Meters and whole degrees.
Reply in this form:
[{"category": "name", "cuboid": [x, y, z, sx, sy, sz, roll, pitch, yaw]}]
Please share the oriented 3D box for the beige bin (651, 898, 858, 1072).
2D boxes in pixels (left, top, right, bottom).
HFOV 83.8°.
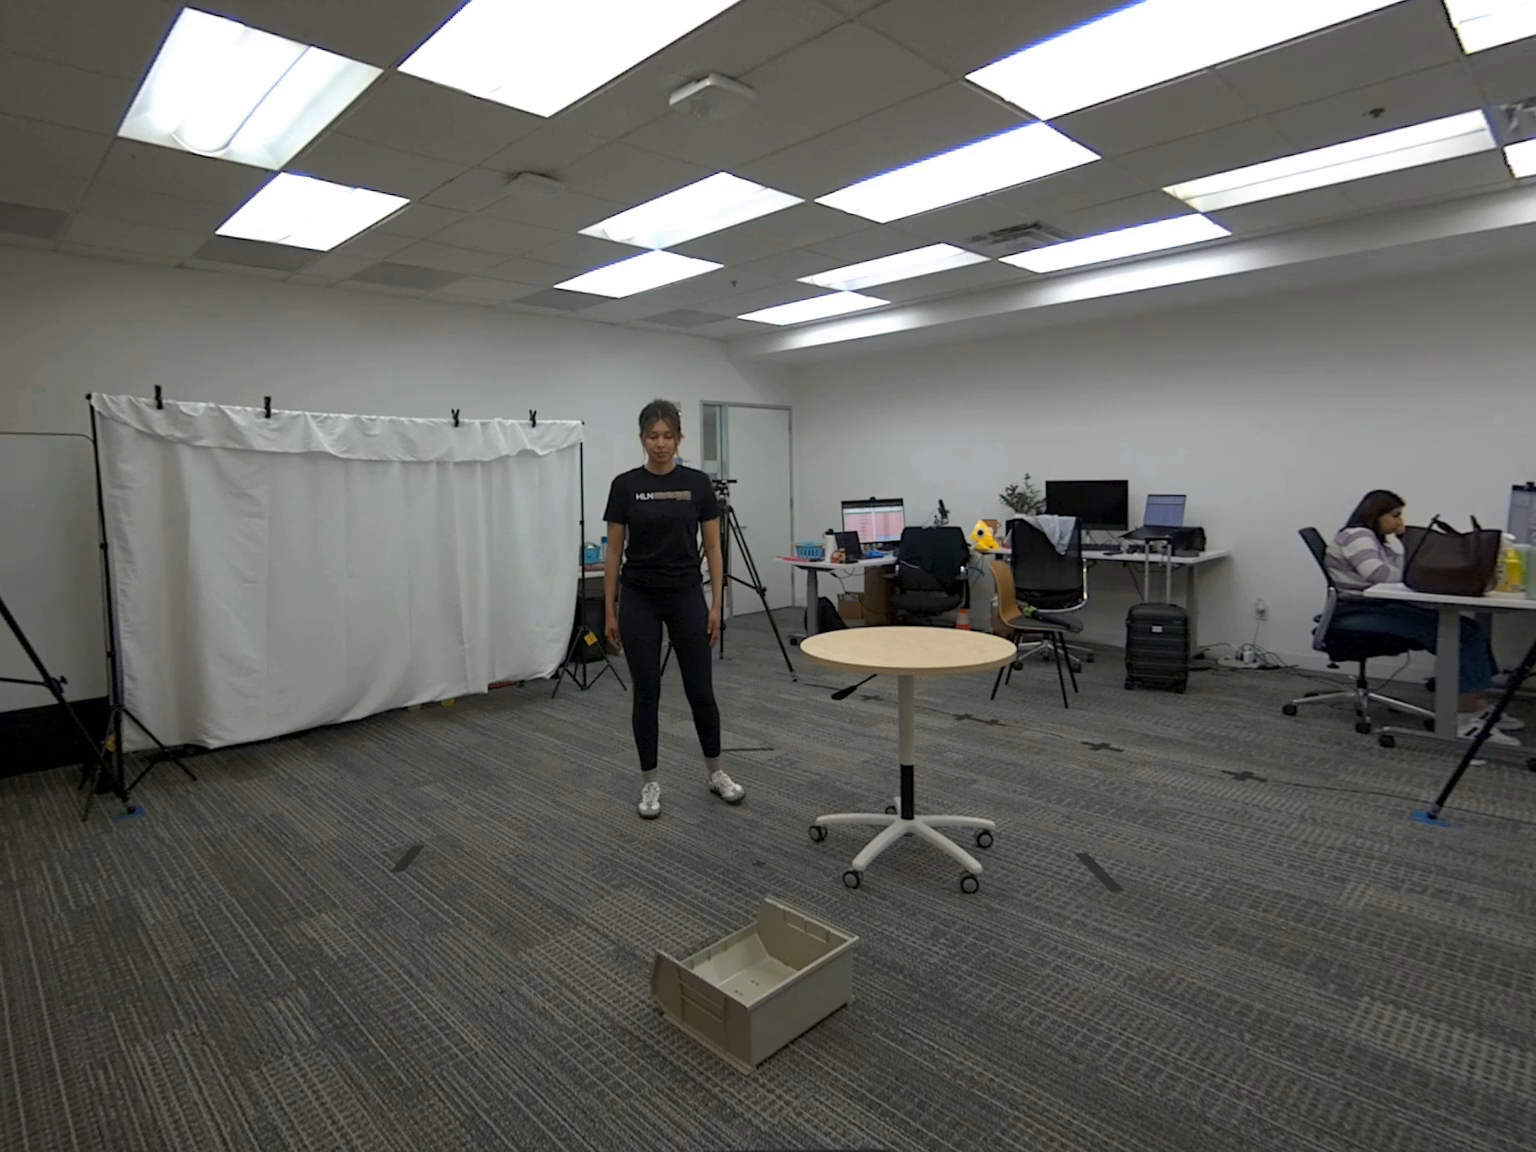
[{"category": "beige bin", "cuboid": [-0.030, 1.059, 2.264, 0.411, 0.188, 0.389, -6, 8, -45]}]
